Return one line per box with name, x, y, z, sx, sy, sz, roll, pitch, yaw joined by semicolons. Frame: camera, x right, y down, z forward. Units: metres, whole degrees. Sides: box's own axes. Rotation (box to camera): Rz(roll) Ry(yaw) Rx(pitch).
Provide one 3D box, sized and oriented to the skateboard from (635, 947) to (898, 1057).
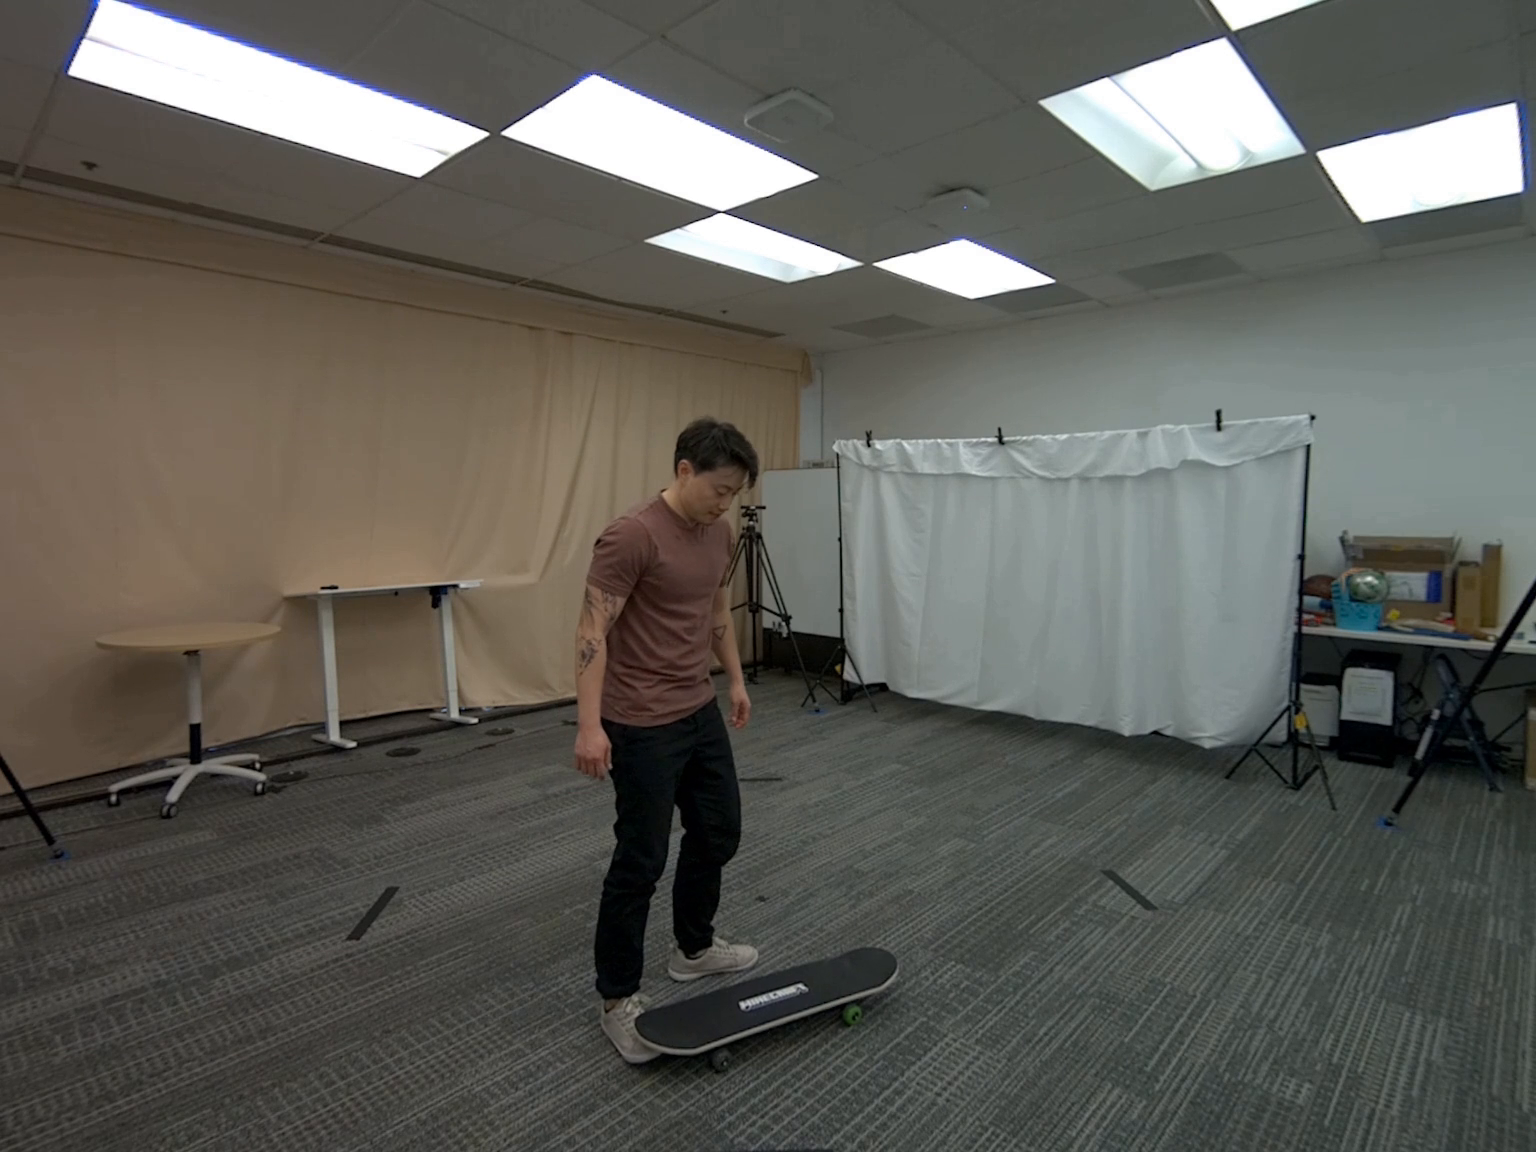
skateboard;0.026;1.157;2.234;0.766;0.110;0.199;-3;5;-27
